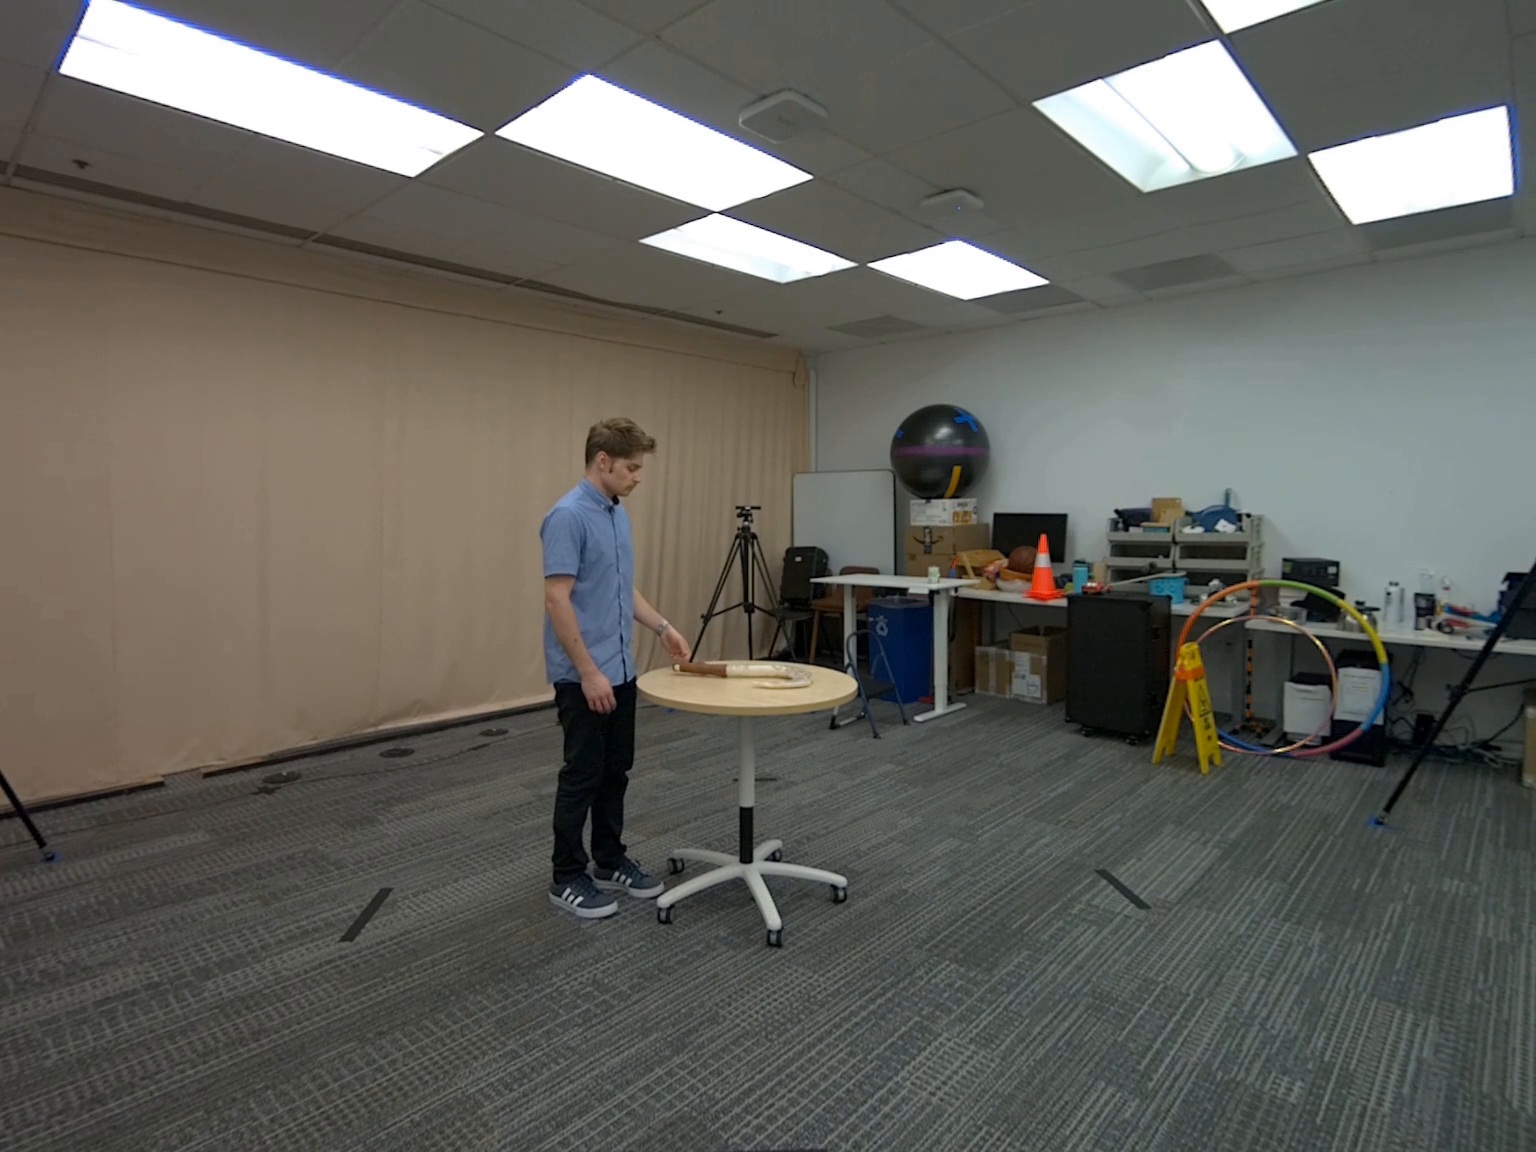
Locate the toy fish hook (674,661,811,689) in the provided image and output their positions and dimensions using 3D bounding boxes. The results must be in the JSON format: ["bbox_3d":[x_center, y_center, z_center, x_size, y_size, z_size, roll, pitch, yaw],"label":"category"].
[{"bbox_3d":[-0.097,0.338,2.928,0.513,0.048,0.221,2,0,12],"label":"toy fish hook"}]
